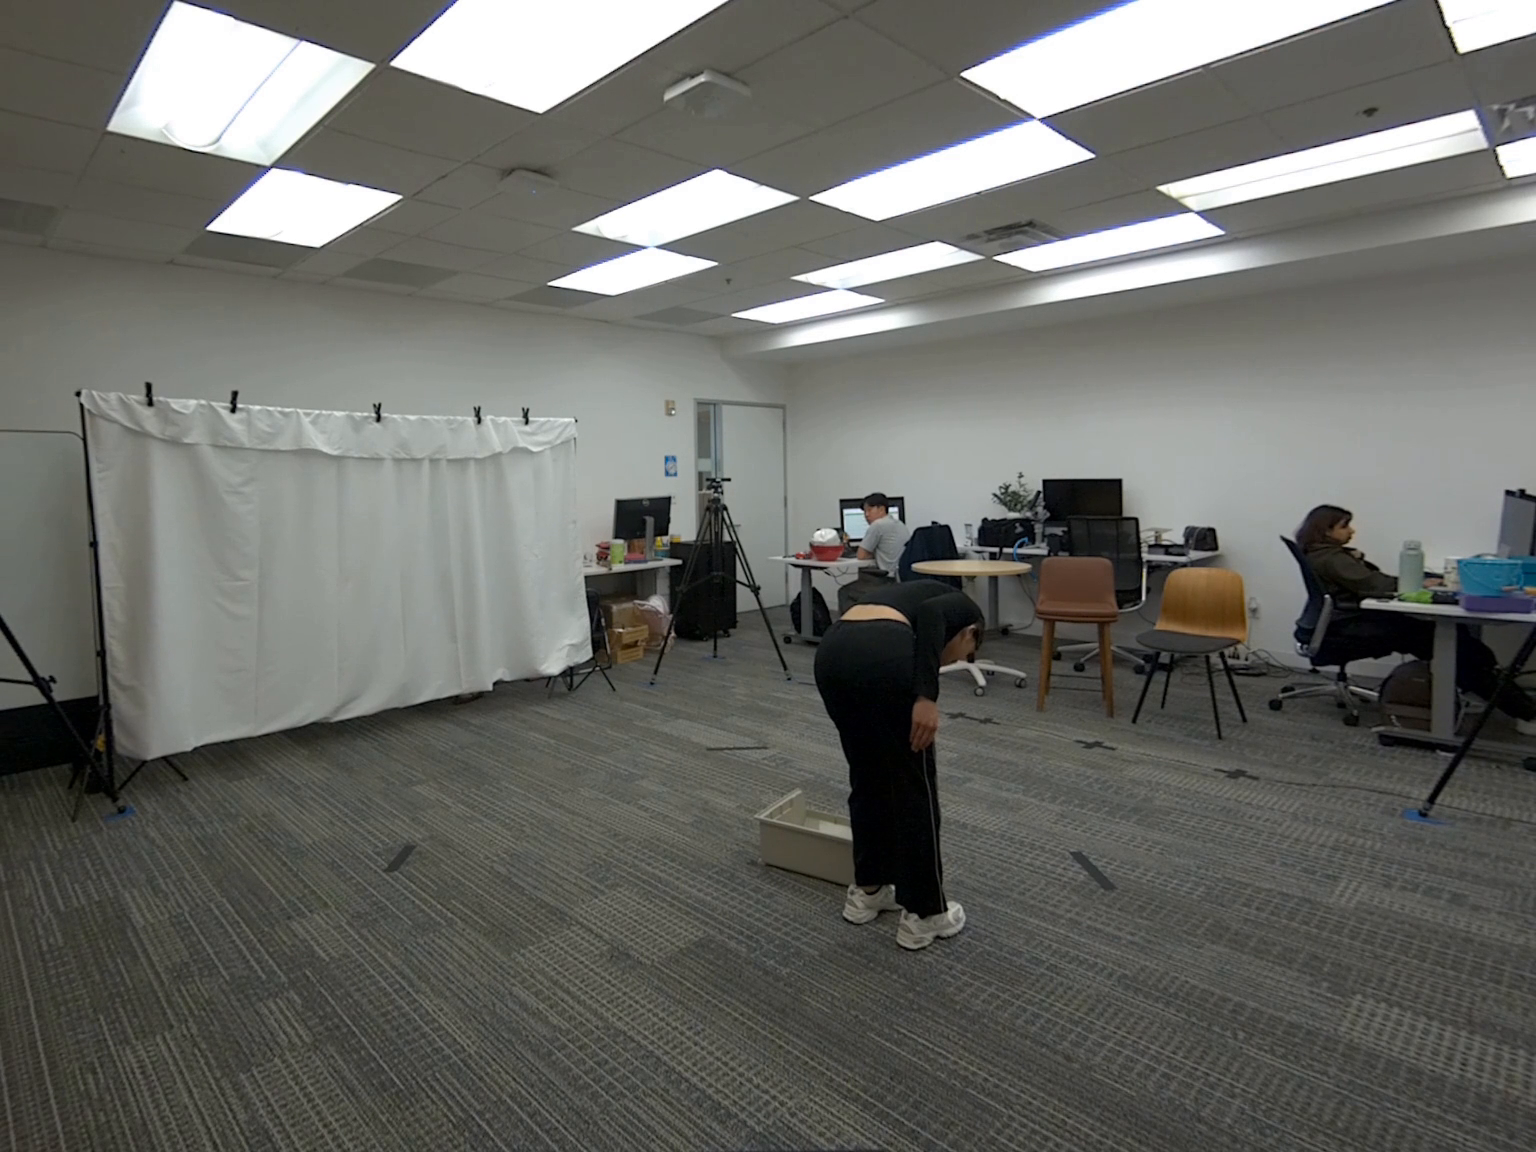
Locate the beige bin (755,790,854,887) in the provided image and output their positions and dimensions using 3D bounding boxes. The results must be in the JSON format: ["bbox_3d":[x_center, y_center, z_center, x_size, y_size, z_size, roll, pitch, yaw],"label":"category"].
[{"bbox_3d":[0.226,0.950,3.122,0.434,0.188,0.369,4,8,32],"label":"beige bin"}]
